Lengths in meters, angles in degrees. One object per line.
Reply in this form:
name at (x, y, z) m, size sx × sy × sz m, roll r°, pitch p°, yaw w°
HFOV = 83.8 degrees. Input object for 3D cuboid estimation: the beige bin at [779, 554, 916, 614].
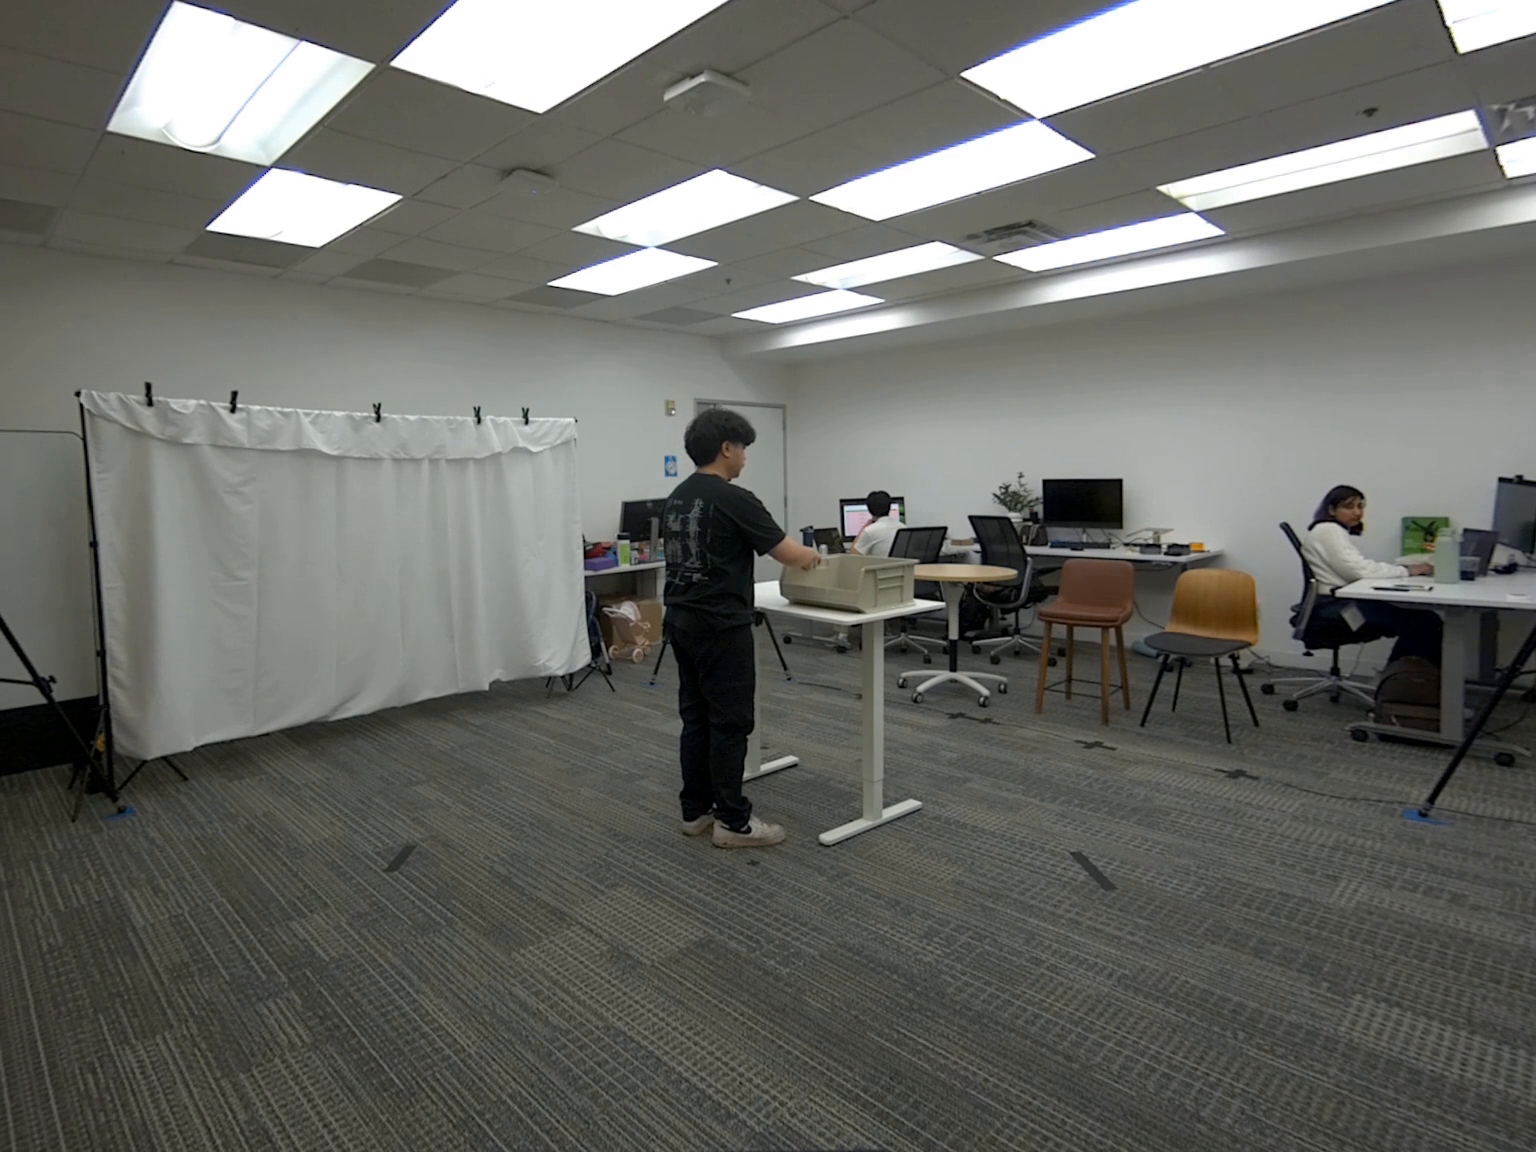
beige bin at (0.318, 0.029, 3.440) m, size 0.367 × 0.188 × 0.435 m, roll -5°, pitch 8°, yaw -42°
